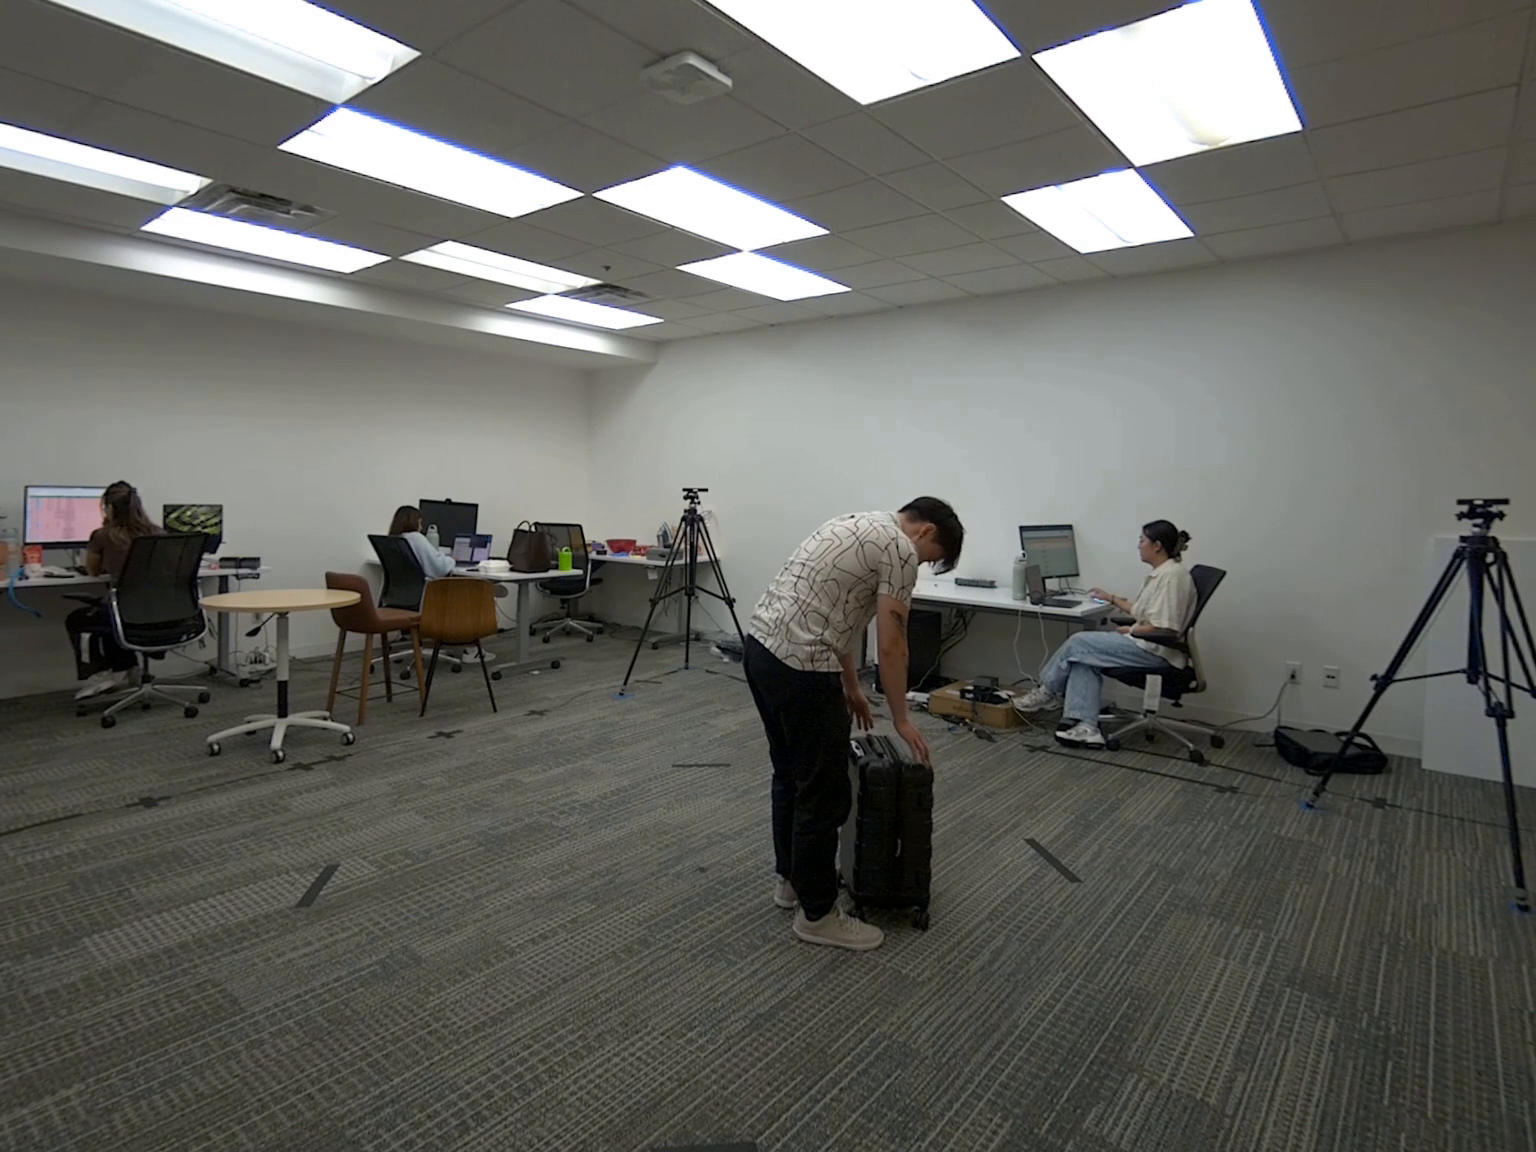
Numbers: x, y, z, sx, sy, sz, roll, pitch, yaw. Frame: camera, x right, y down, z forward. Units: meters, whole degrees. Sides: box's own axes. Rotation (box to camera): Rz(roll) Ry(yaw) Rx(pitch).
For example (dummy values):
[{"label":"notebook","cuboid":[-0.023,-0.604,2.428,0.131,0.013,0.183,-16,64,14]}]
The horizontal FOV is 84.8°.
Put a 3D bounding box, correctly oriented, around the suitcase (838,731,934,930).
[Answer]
[{"label":"suitcase","cuboid":[0.398,0.836,2.878,0.248,0.548,0.376,4,3,-2]}]
